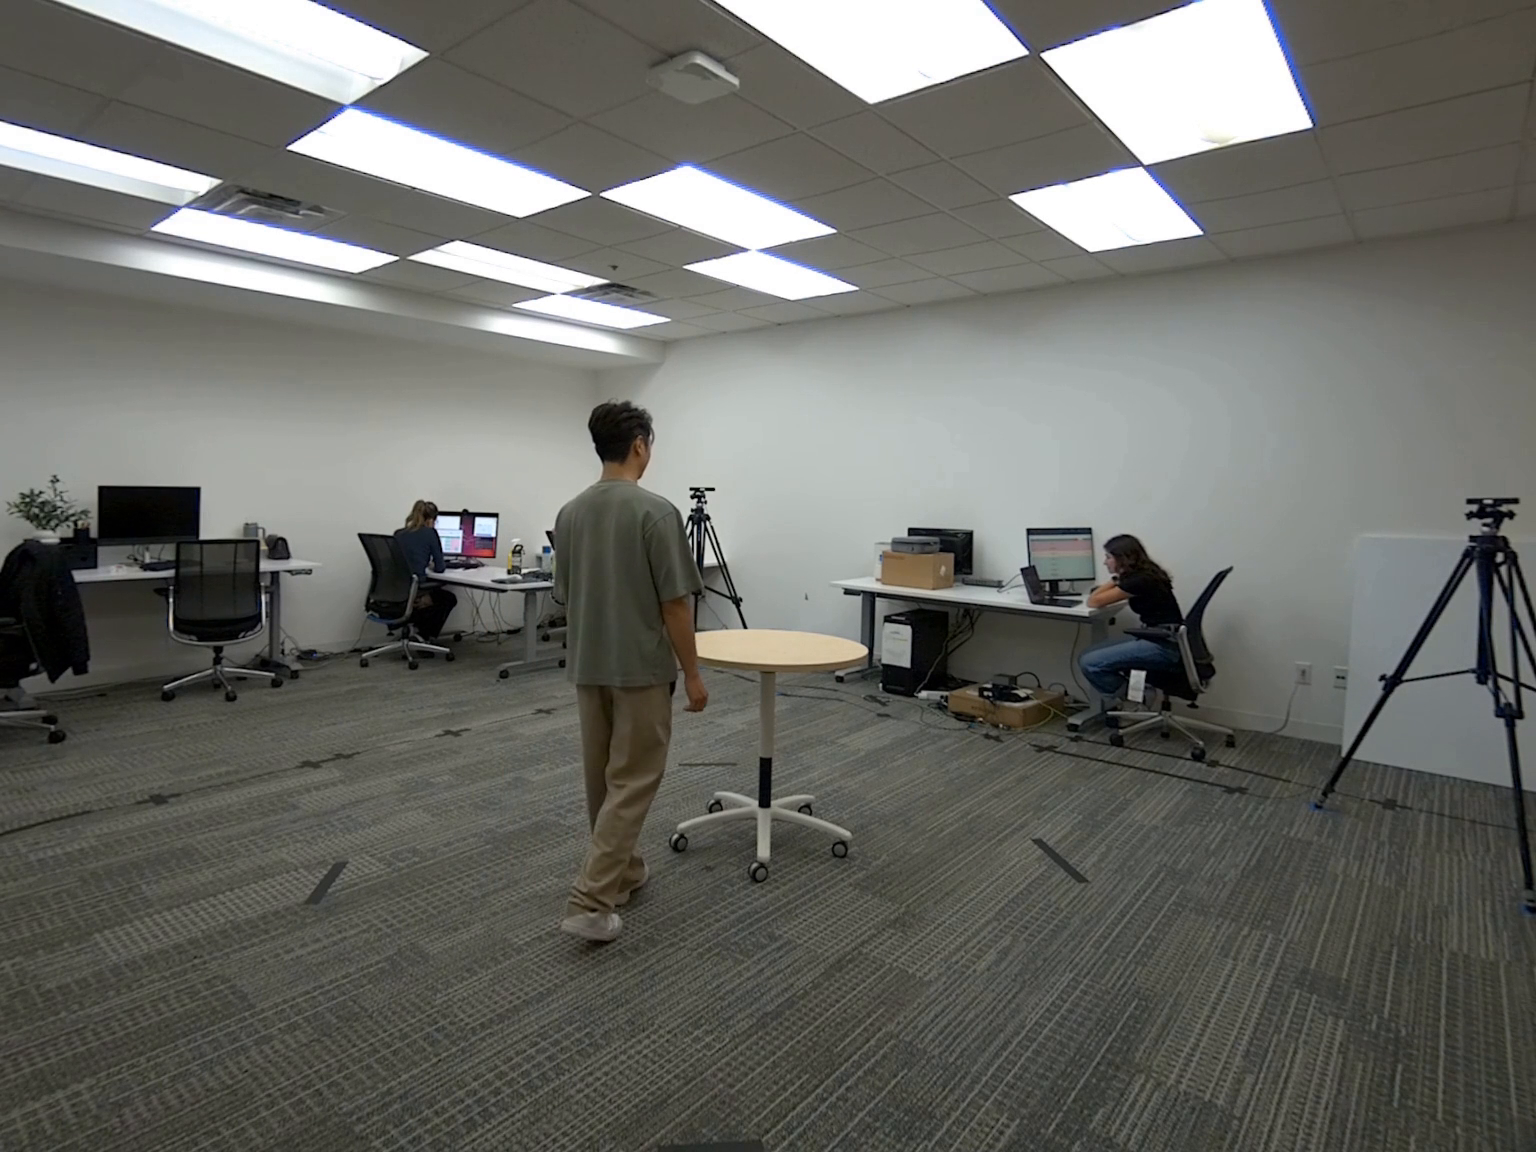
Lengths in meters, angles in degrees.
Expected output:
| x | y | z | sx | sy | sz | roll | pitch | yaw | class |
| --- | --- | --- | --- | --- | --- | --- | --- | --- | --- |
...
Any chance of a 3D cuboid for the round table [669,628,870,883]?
| x | y | z | sx | sy | sz | roll | pitch | yaw | class |
| --- | --- | --- | --- | --- | --- | --- | --- | --- | --- |
| -0.009 | 0.655 | 3.335 | 0.784 | 0.784 | 0.789 | 1 | 4 | -2 | round table |
